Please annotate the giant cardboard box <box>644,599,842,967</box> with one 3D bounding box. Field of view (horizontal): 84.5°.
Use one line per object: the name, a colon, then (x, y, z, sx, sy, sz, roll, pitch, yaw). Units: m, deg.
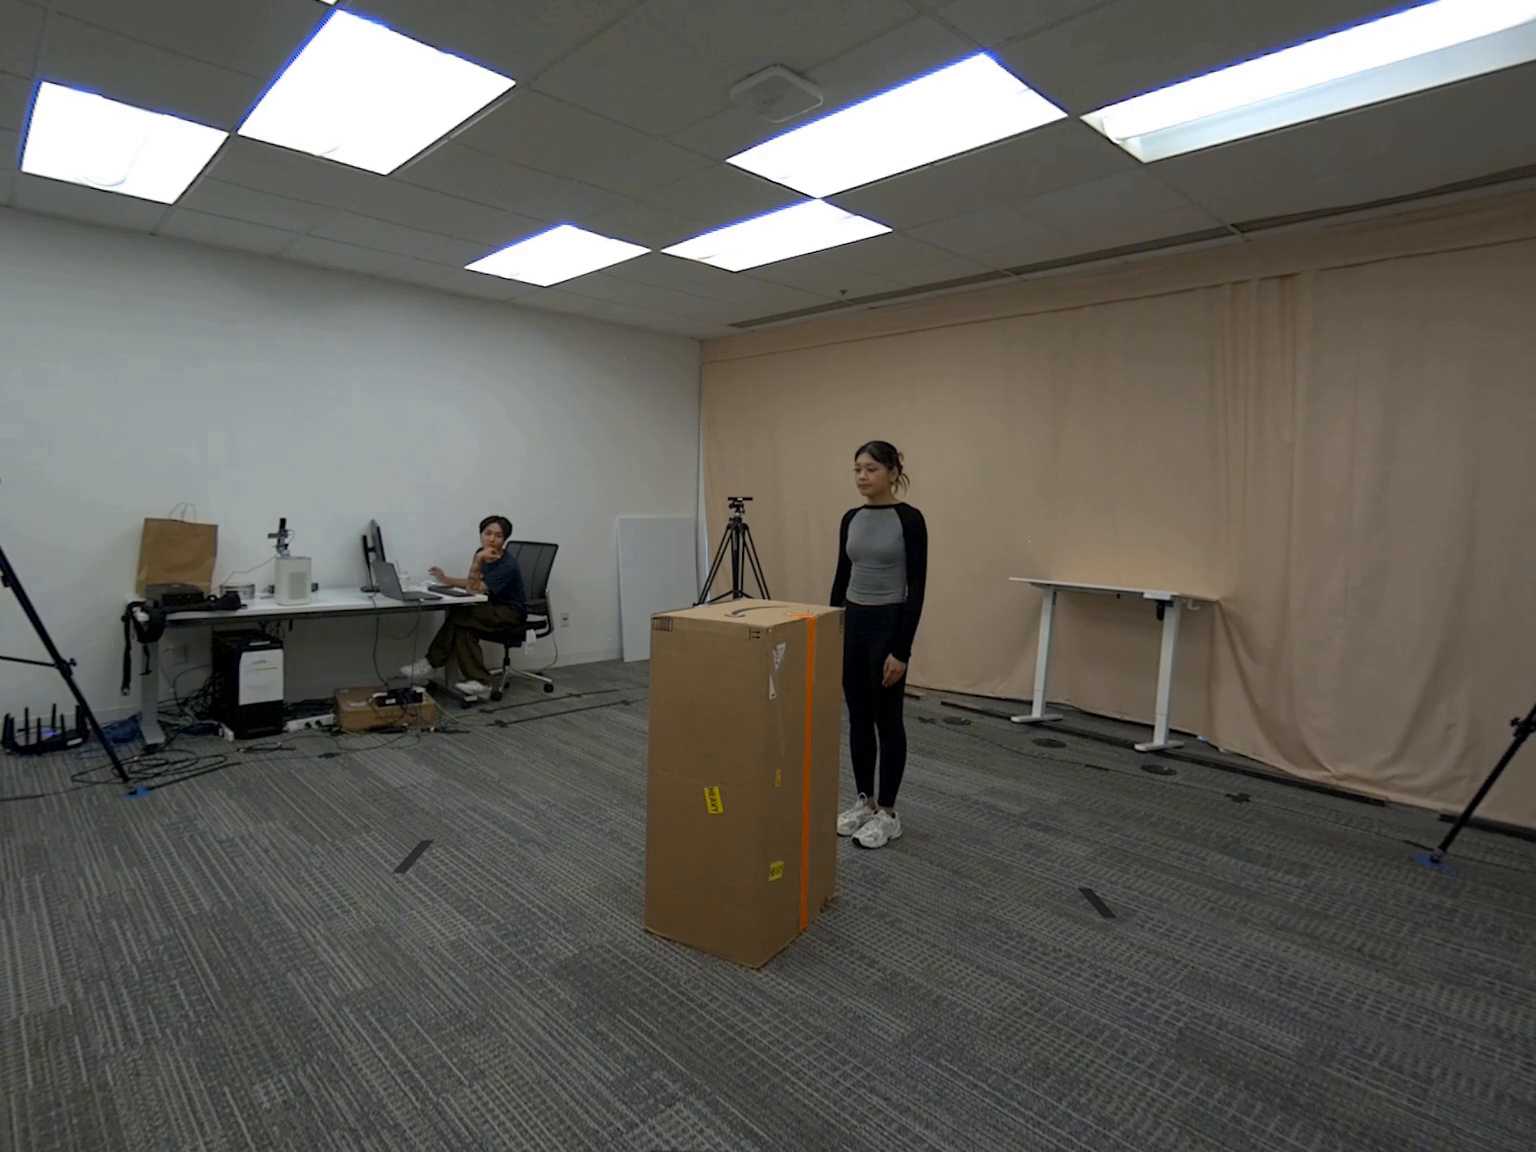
giant cardboard box: (-0.066, 0.630, 2.807, 0.456, 1.025, 0.573, 2, 3, 29)
